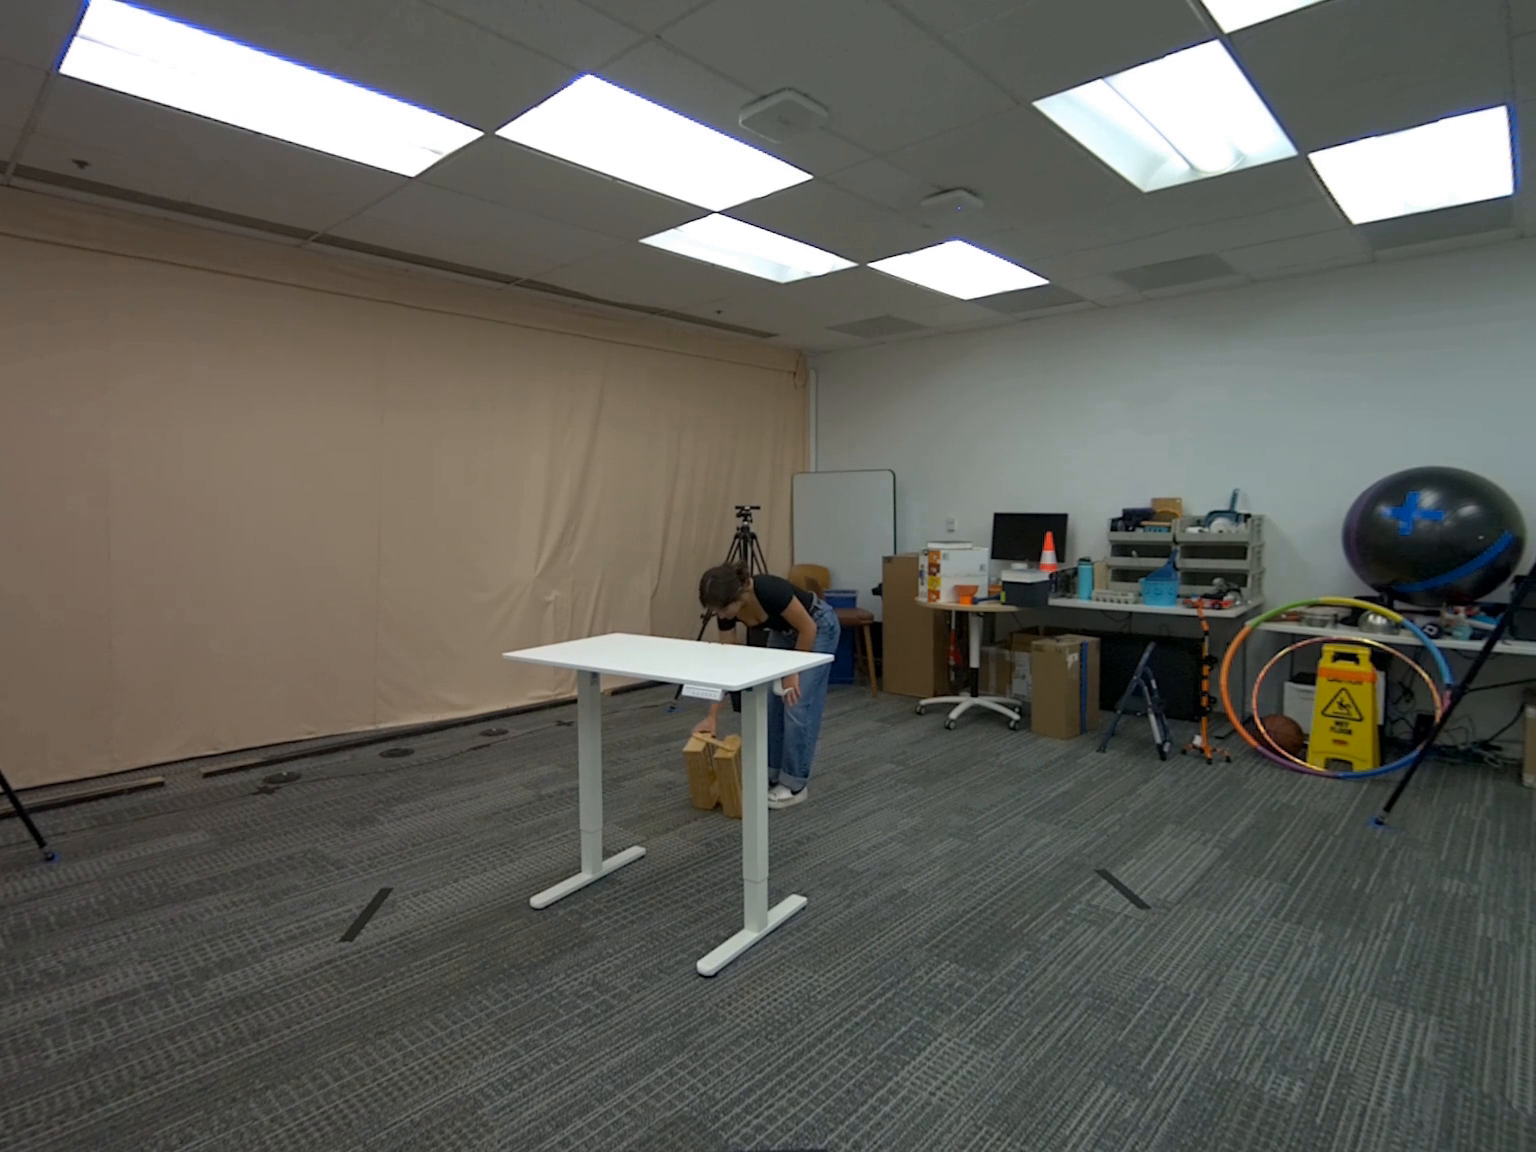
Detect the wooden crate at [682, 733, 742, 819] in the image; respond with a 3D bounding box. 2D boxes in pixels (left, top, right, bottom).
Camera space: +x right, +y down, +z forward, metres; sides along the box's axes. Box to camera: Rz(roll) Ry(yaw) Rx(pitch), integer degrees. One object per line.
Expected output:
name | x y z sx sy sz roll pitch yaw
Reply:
wooden crate | -0.214 0.893 3.889 0.279 0.320 0.300 -4 16 19
